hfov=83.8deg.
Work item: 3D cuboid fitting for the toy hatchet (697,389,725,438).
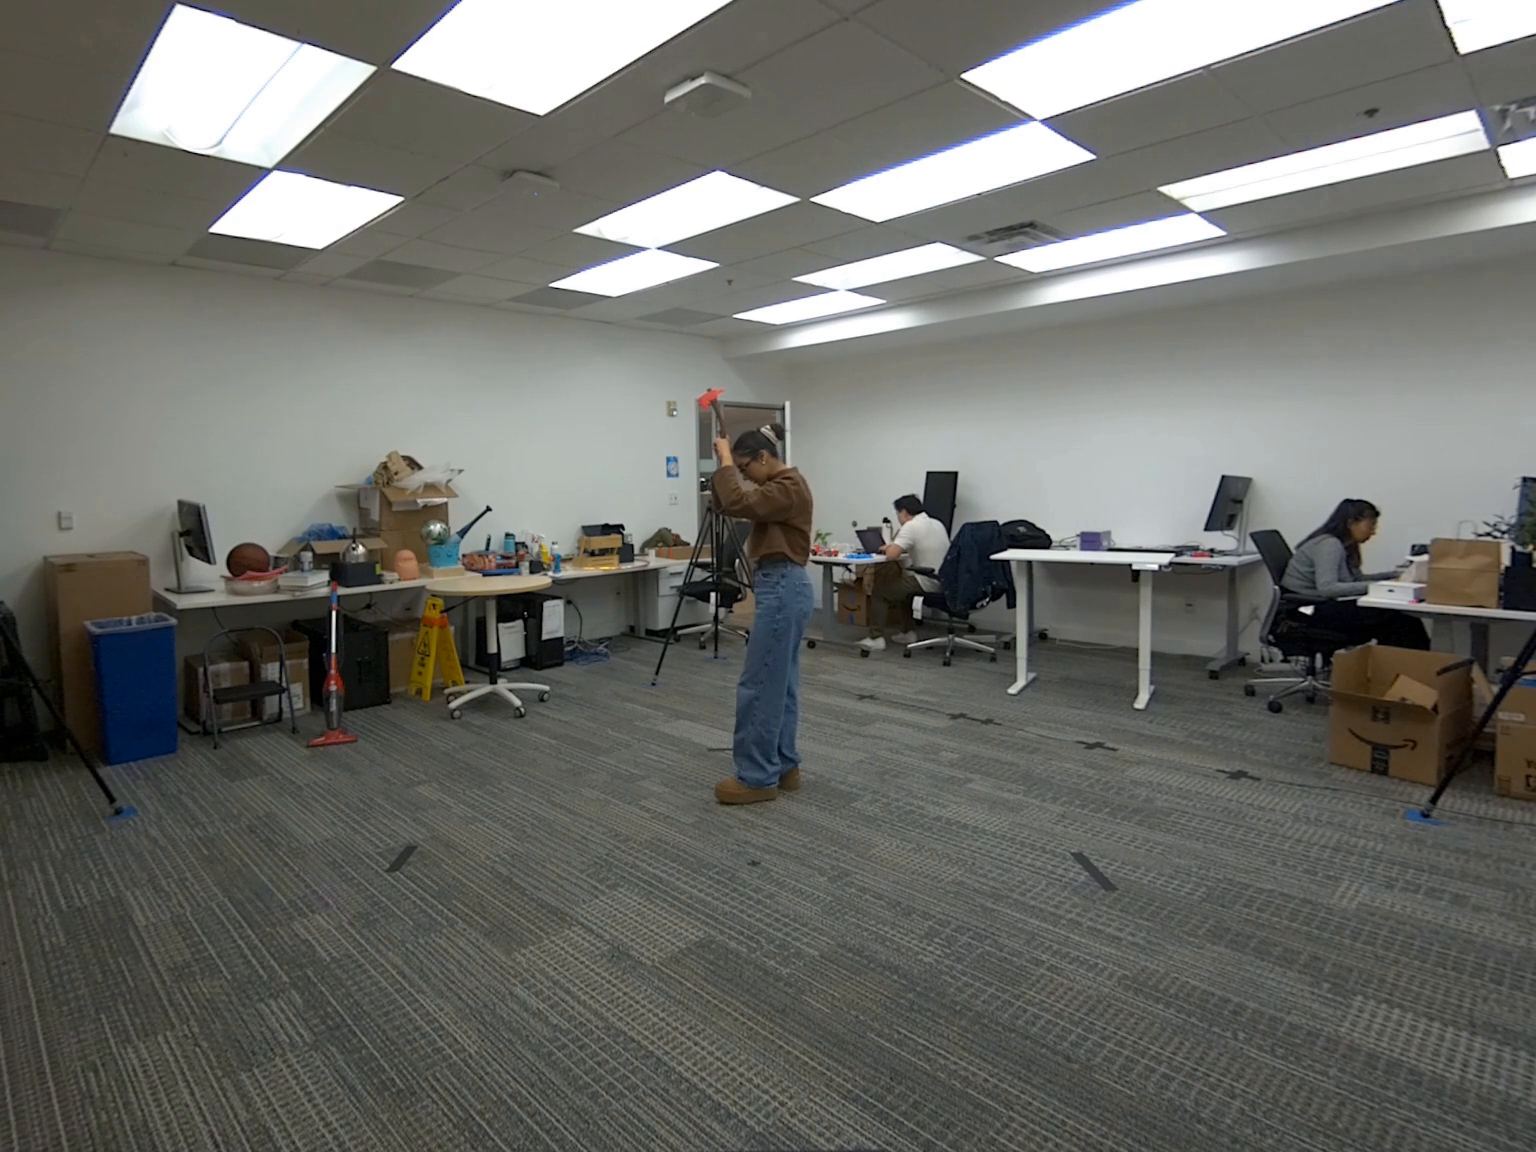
[{"bbox_3d":[-0.240,-0.703,3.798,0.129,0.270,0.030,-4,1,-13],"label":"toy hatchet"}]
